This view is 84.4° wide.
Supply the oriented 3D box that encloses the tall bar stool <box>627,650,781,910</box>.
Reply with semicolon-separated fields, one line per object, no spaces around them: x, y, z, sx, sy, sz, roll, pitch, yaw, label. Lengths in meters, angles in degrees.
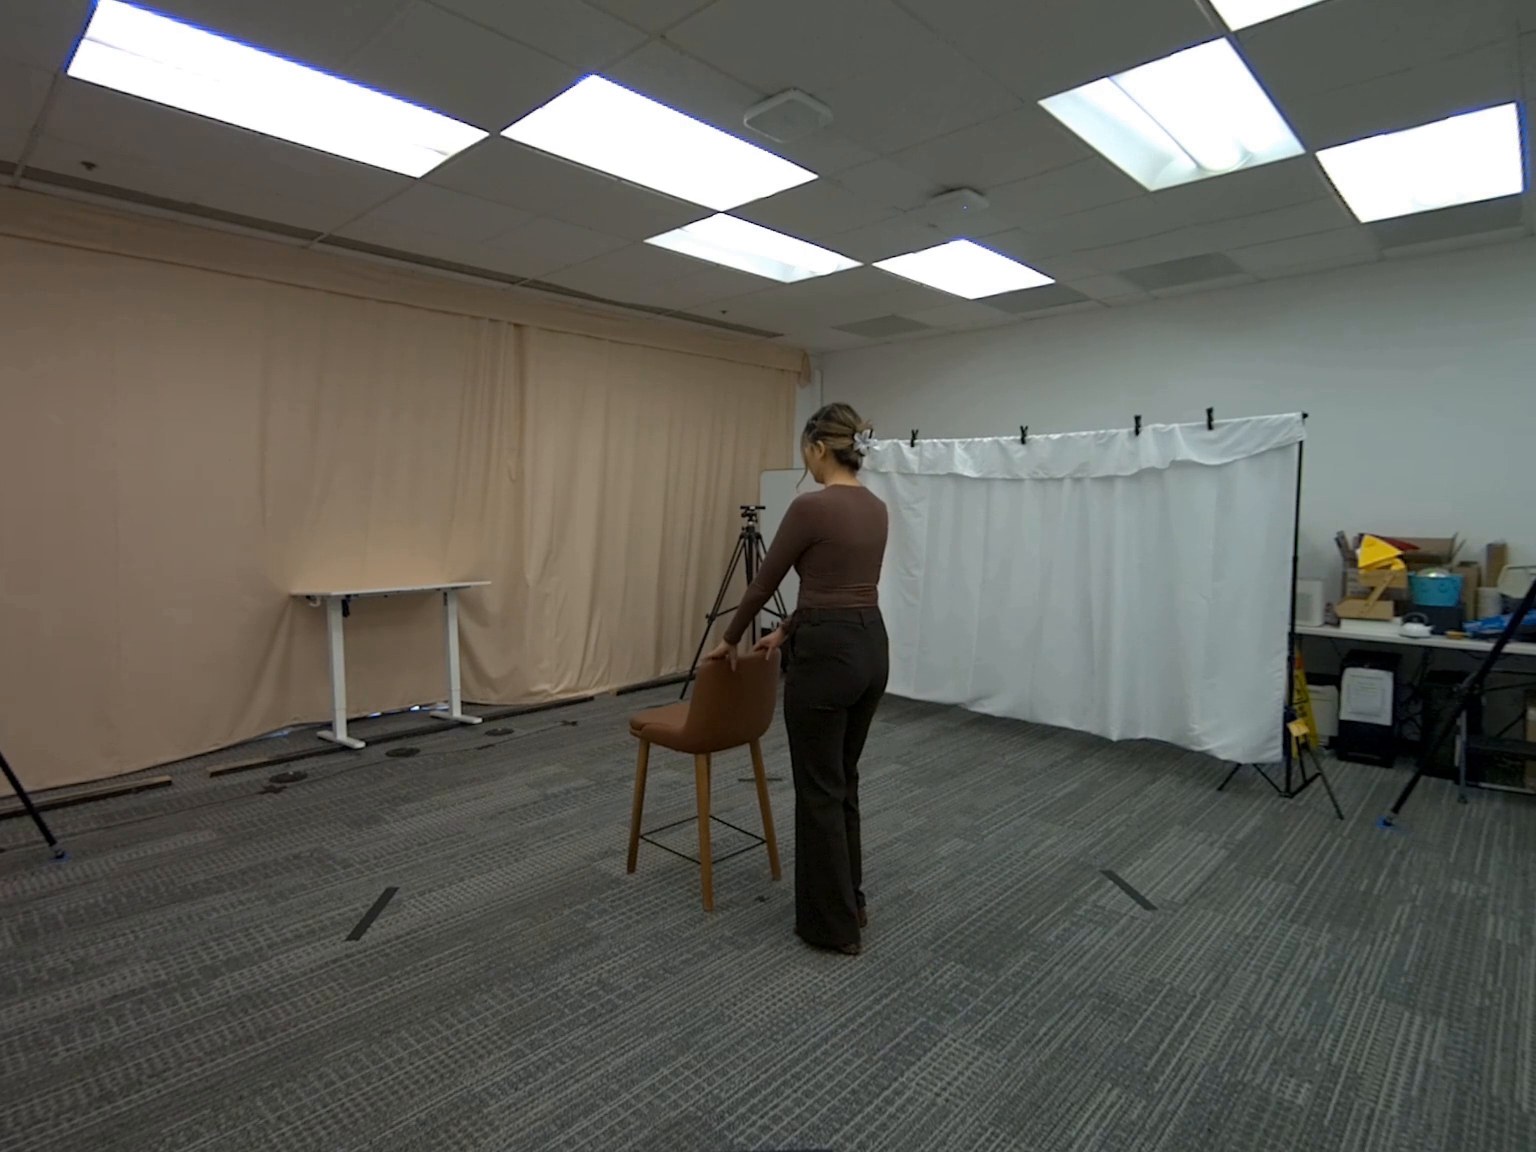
-0.236;0.695;3.153;0.442;0.887;0.483;-3;6;-44;tall bar stool
